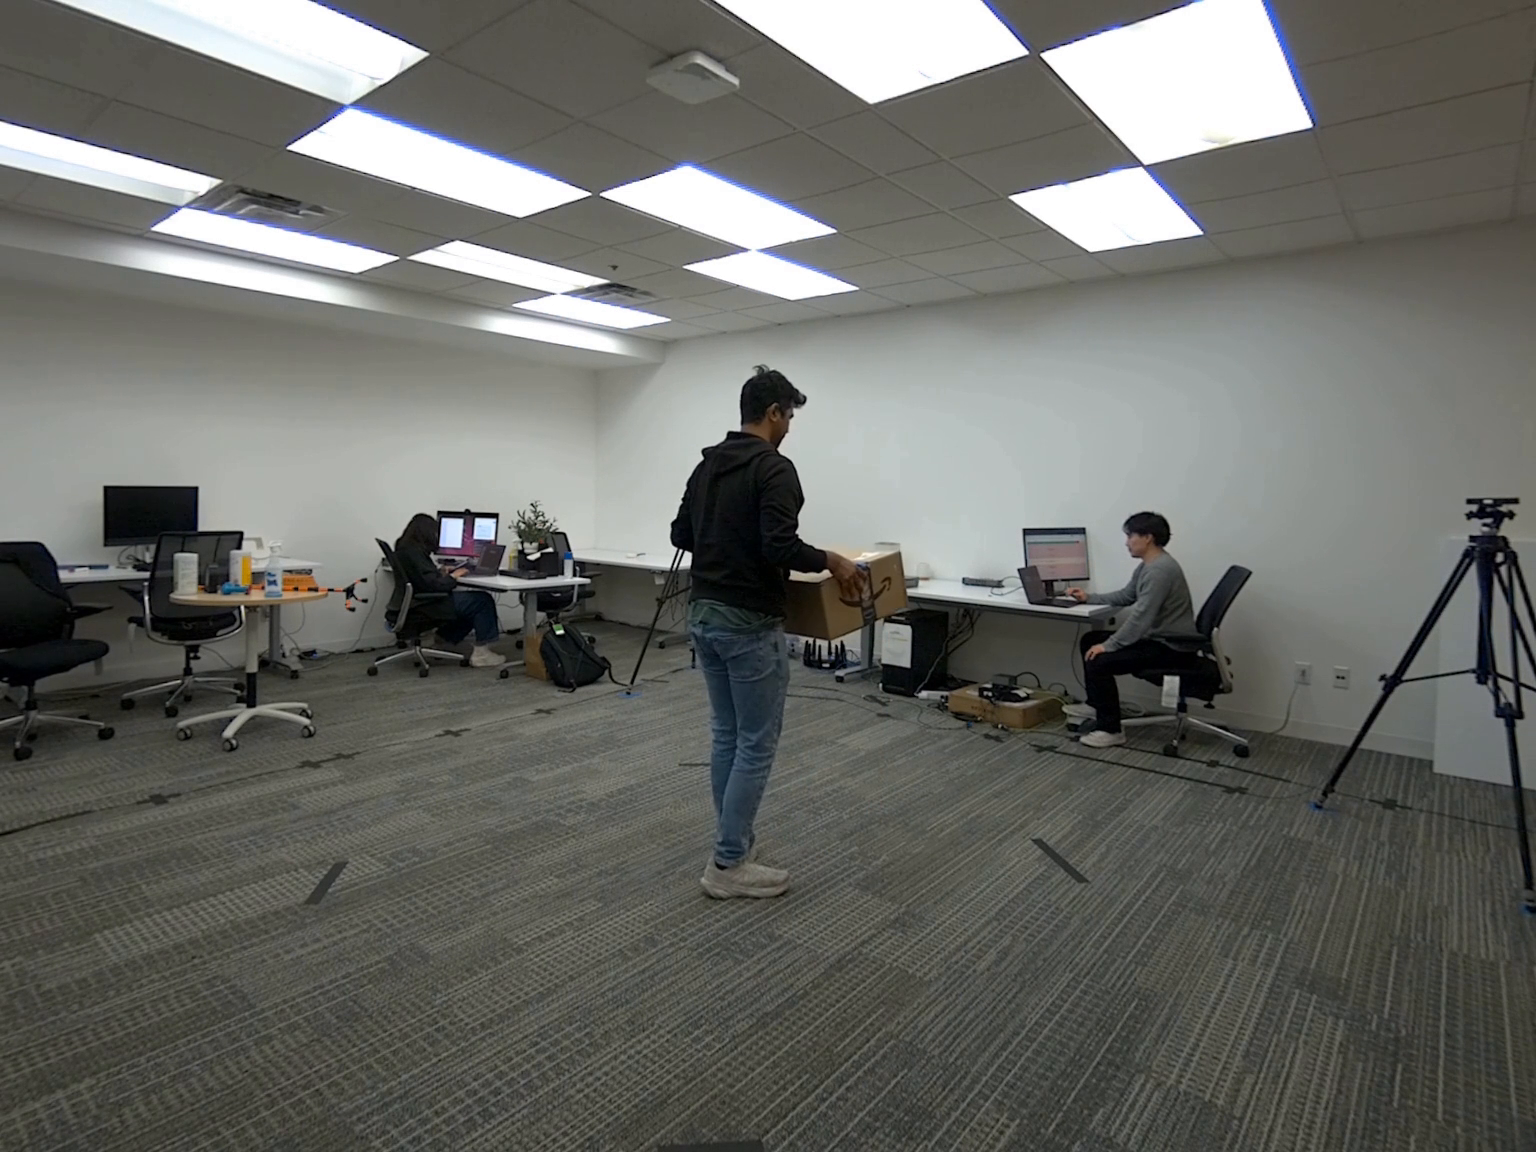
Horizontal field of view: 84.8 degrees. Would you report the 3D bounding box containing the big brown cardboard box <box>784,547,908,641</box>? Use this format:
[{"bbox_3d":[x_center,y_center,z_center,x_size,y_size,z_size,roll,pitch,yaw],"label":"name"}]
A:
[{"bbox_3d":[0.162,0.046,3.242,0.409,0.230,0.608,-19,14,-36],"label":"big brown cardboard box"}]
